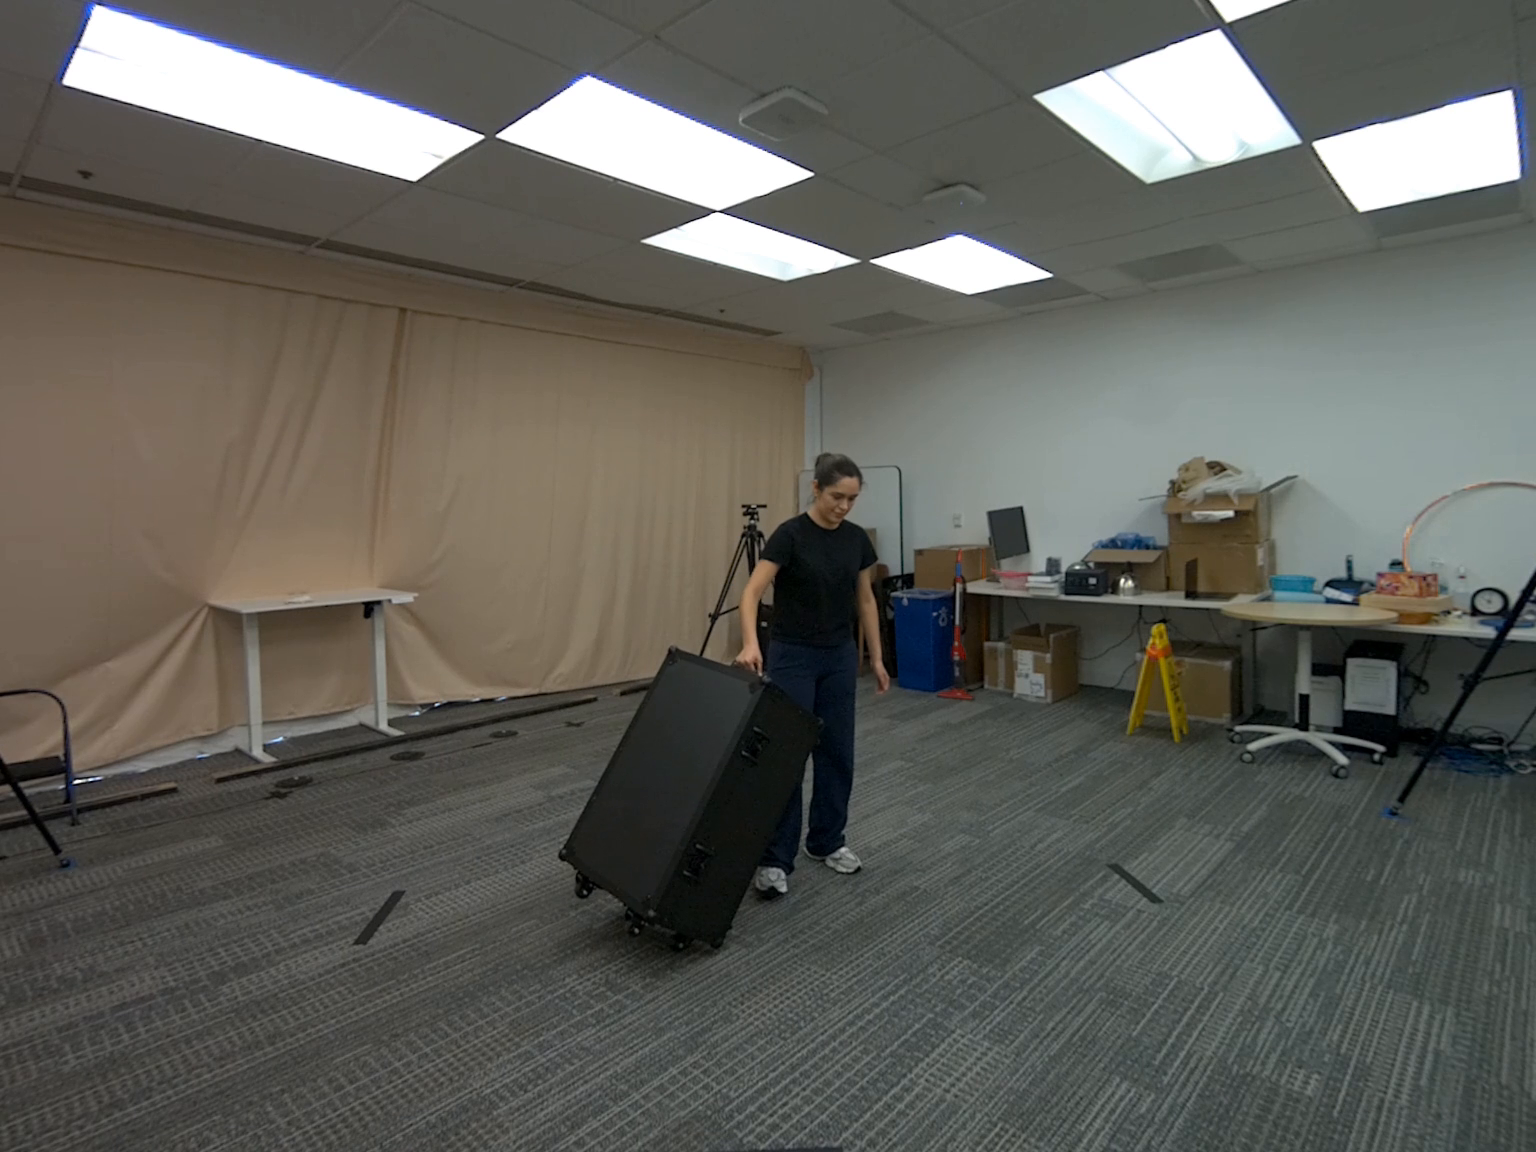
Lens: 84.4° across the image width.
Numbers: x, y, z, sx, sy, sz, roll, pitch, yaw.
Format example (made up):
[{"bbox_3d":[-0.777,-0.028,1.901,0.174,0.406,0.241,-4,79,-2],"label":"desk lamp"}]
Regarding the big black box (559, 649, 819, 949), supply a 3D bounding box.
[{"bbox_3d":[-0.215,0.690,2.799,0.540,0.862,0.382,11,-23,44],"label":"big black box"}]
